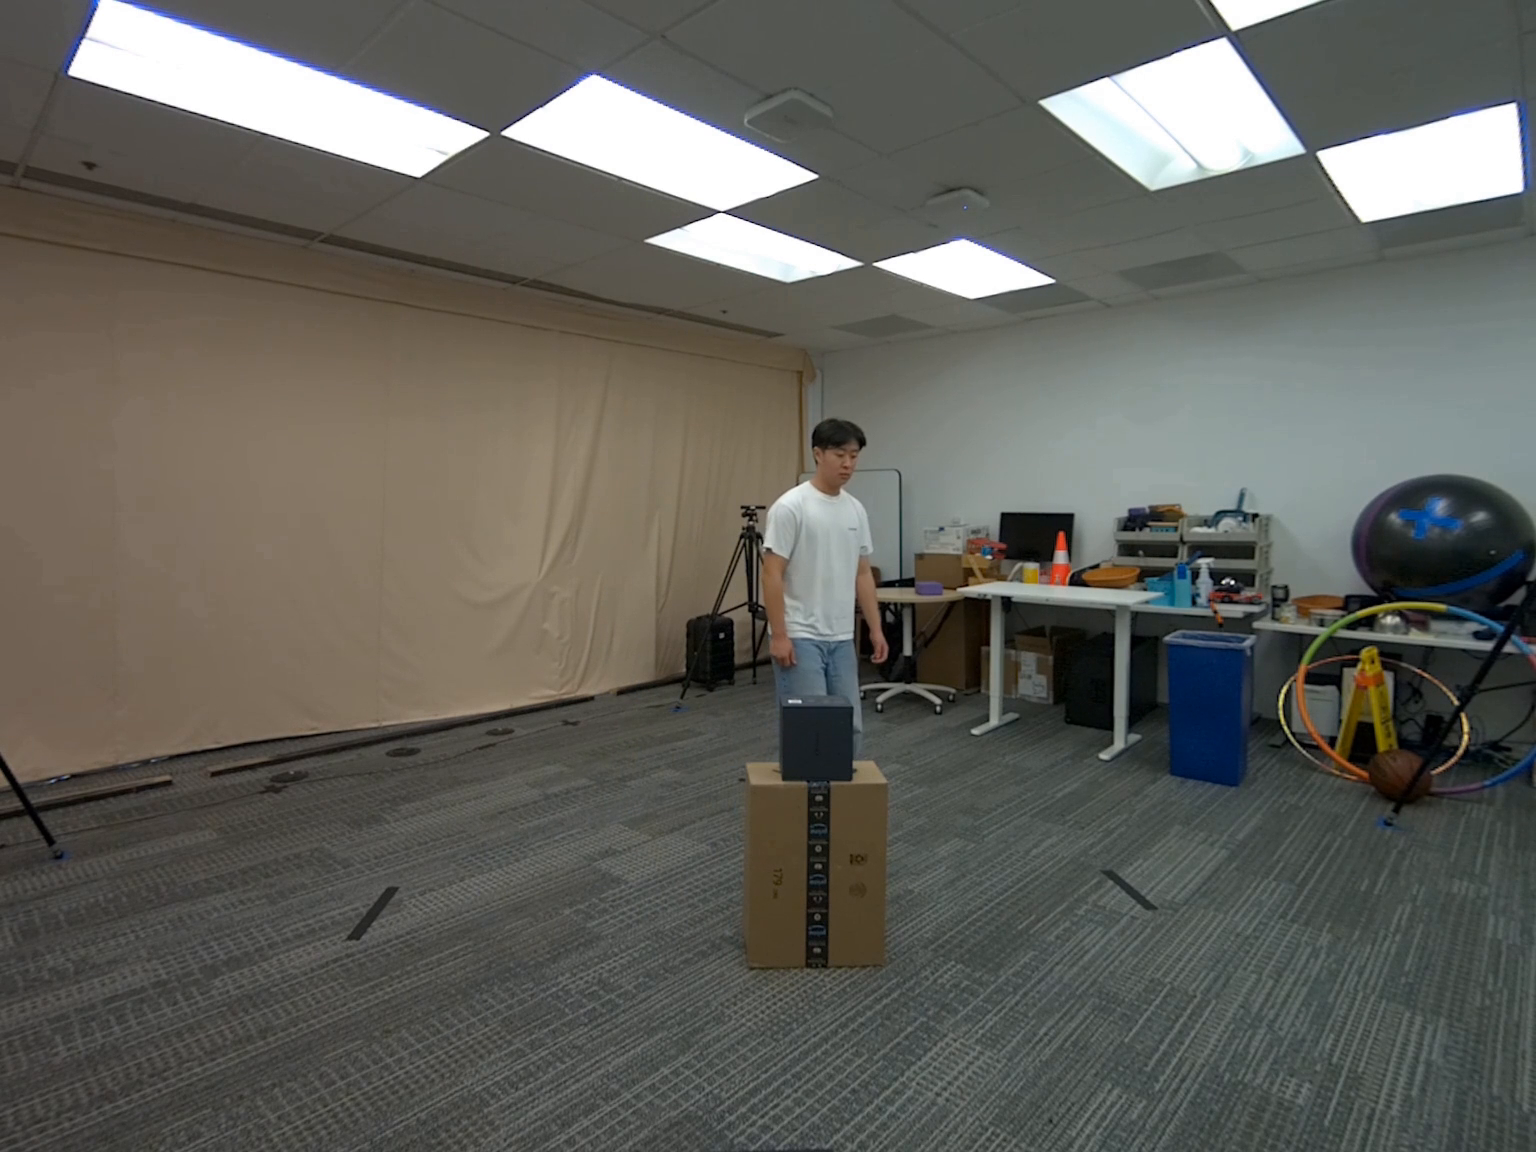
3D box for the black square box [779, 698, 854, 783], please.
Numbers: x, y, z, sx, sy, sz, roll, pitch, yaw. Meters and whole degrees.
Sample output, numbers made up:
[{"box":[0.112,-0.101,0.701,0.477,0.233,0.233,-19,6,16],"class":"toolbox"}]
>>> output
[{"box":[0.151,0.492,2.600,0.218,0.227,0.156,-1,5,3],"class":"black square box"}]
